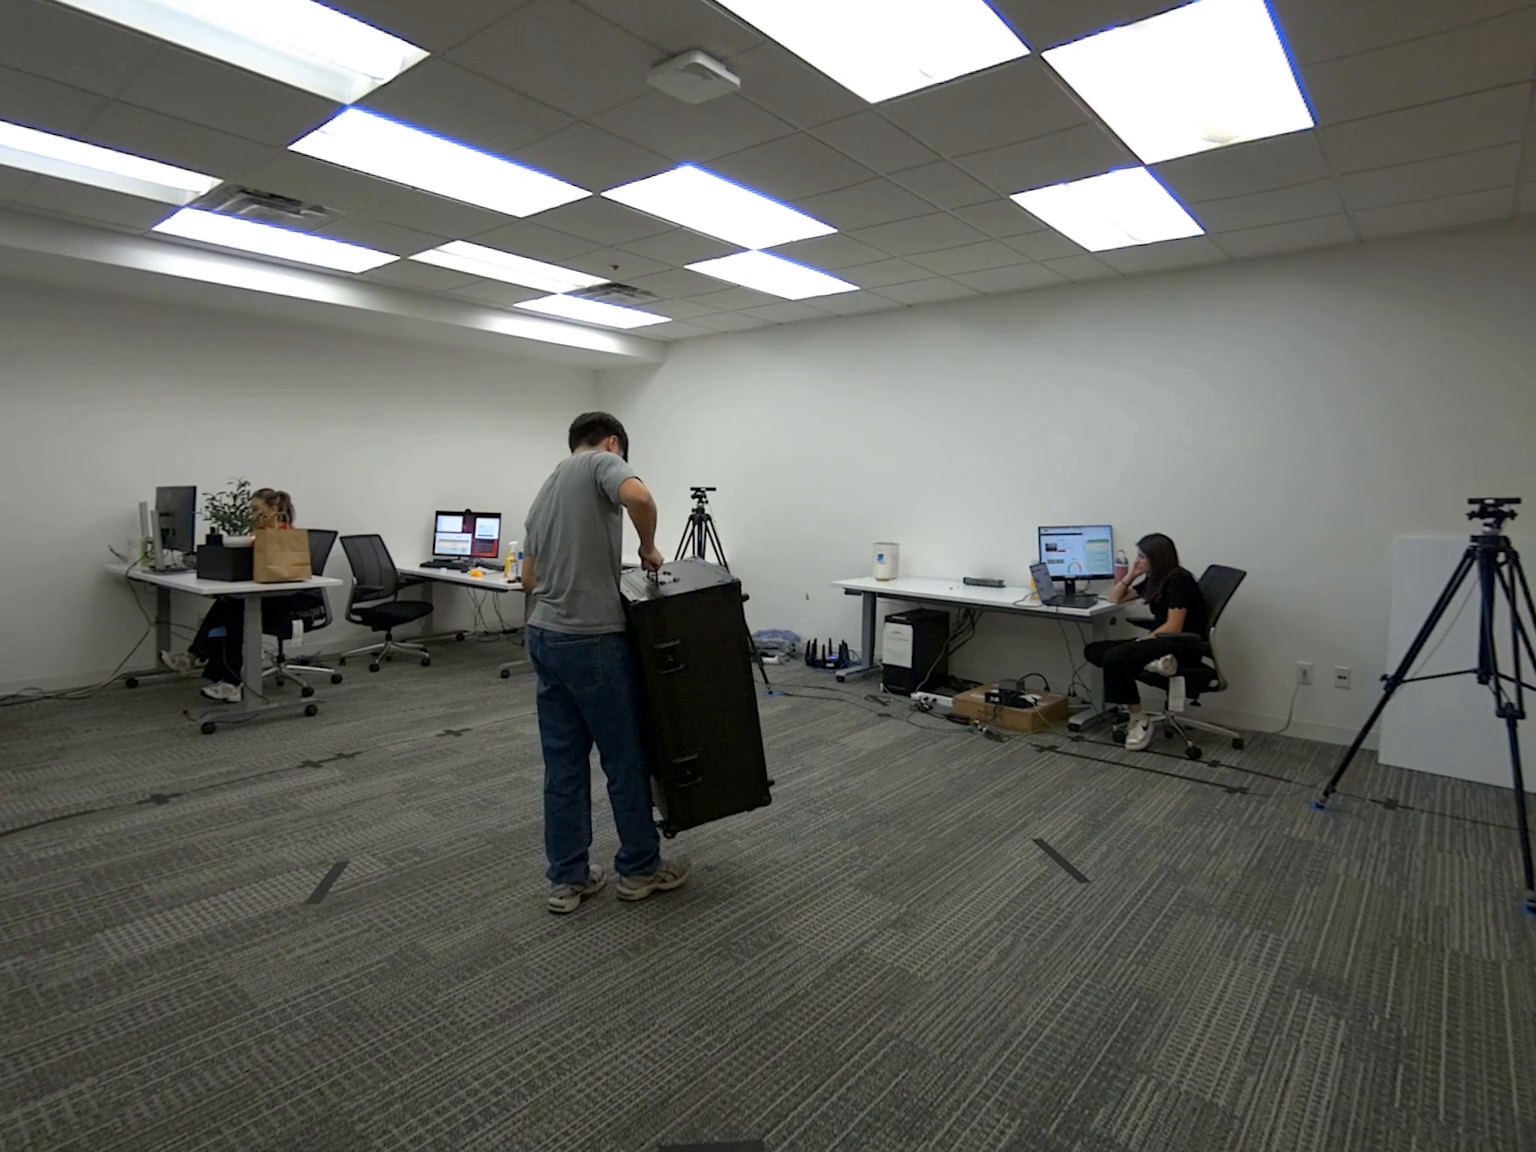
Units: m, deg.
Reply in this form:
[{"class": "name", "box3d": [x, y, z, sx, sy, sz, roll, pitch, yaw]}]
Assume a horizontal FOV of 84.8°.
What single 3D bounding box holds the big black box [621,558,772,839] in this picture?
[{"class": "big black box", "box3d": [-0.286, 0.354, 2.936, 0.390, 0.851, 0.535, -11, 12, -19]}]
